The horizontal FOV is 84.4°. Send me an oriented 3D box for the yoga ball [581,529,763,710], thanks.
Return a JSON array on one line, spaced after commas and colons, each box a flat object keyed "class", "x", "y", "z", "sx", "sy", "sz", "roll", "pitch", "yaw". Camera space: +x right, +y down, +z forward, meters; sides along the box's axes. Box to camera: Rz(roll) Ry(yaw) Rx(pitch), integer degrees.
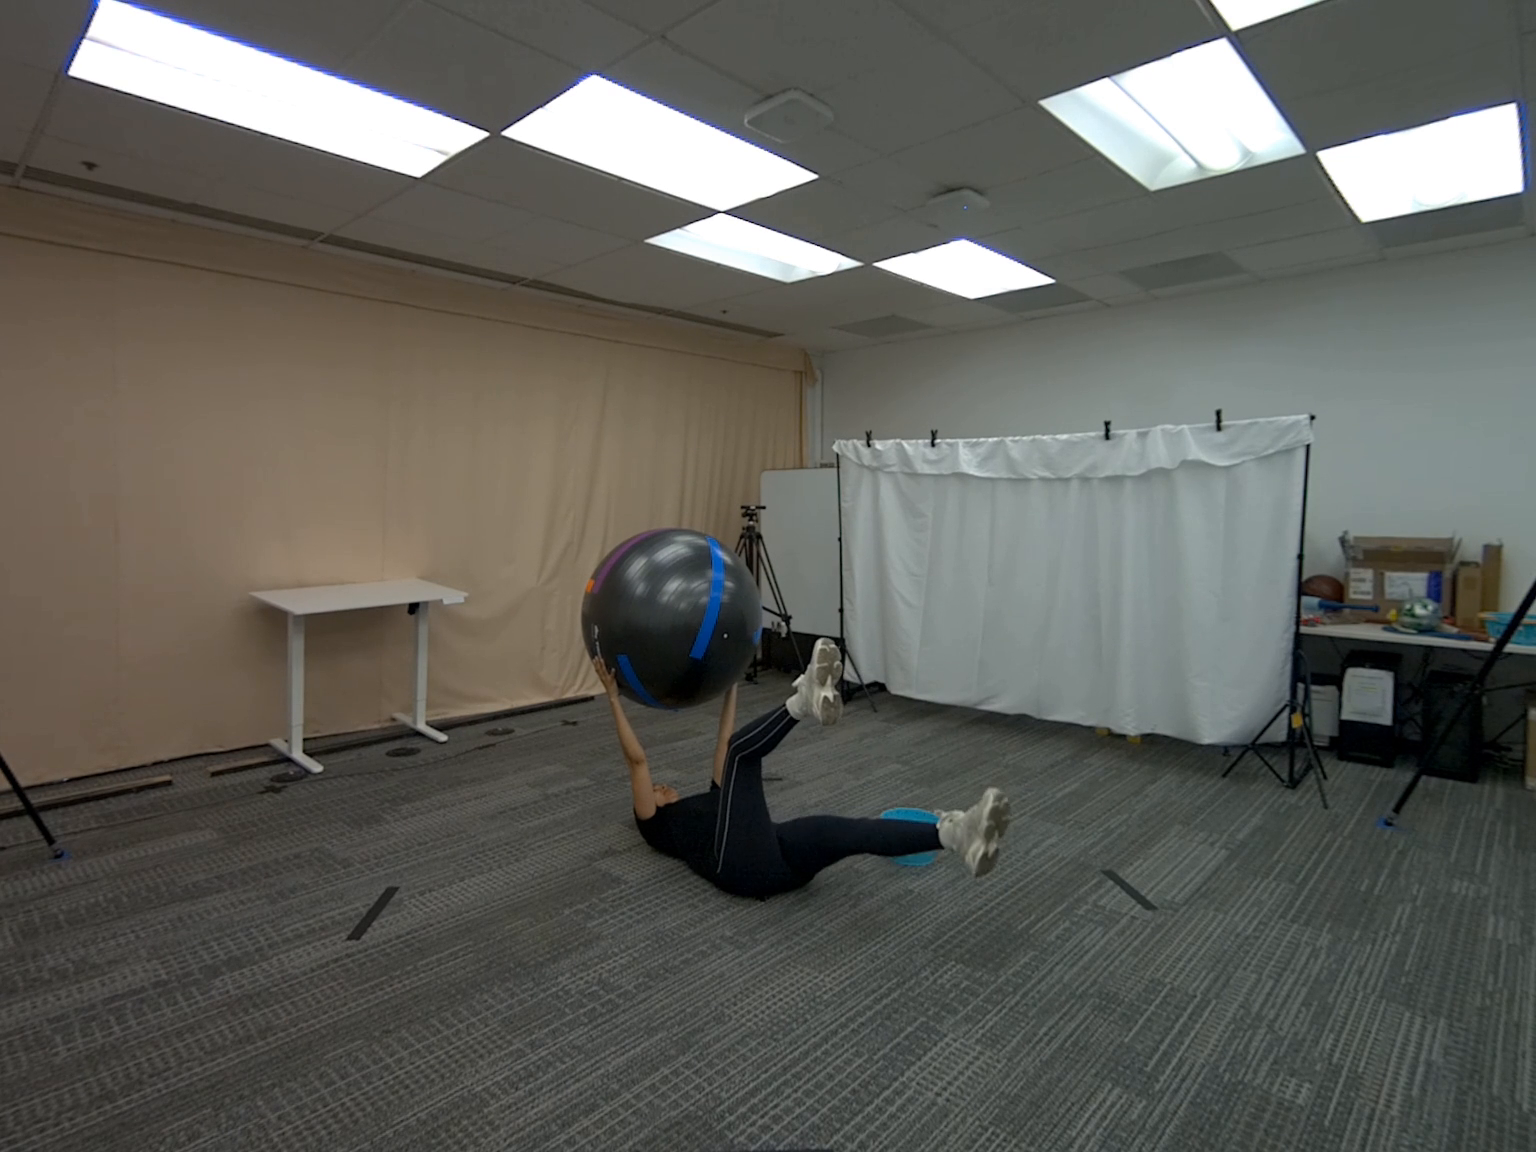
[{"class": "yoga ball", "x": -0.399, "y": 0.178, "z": 3.531, "sx": 0.757, "sy": 0.756, "sz": 0.761, "roll": 3, "pitch": 5, "yaw": -2}]
